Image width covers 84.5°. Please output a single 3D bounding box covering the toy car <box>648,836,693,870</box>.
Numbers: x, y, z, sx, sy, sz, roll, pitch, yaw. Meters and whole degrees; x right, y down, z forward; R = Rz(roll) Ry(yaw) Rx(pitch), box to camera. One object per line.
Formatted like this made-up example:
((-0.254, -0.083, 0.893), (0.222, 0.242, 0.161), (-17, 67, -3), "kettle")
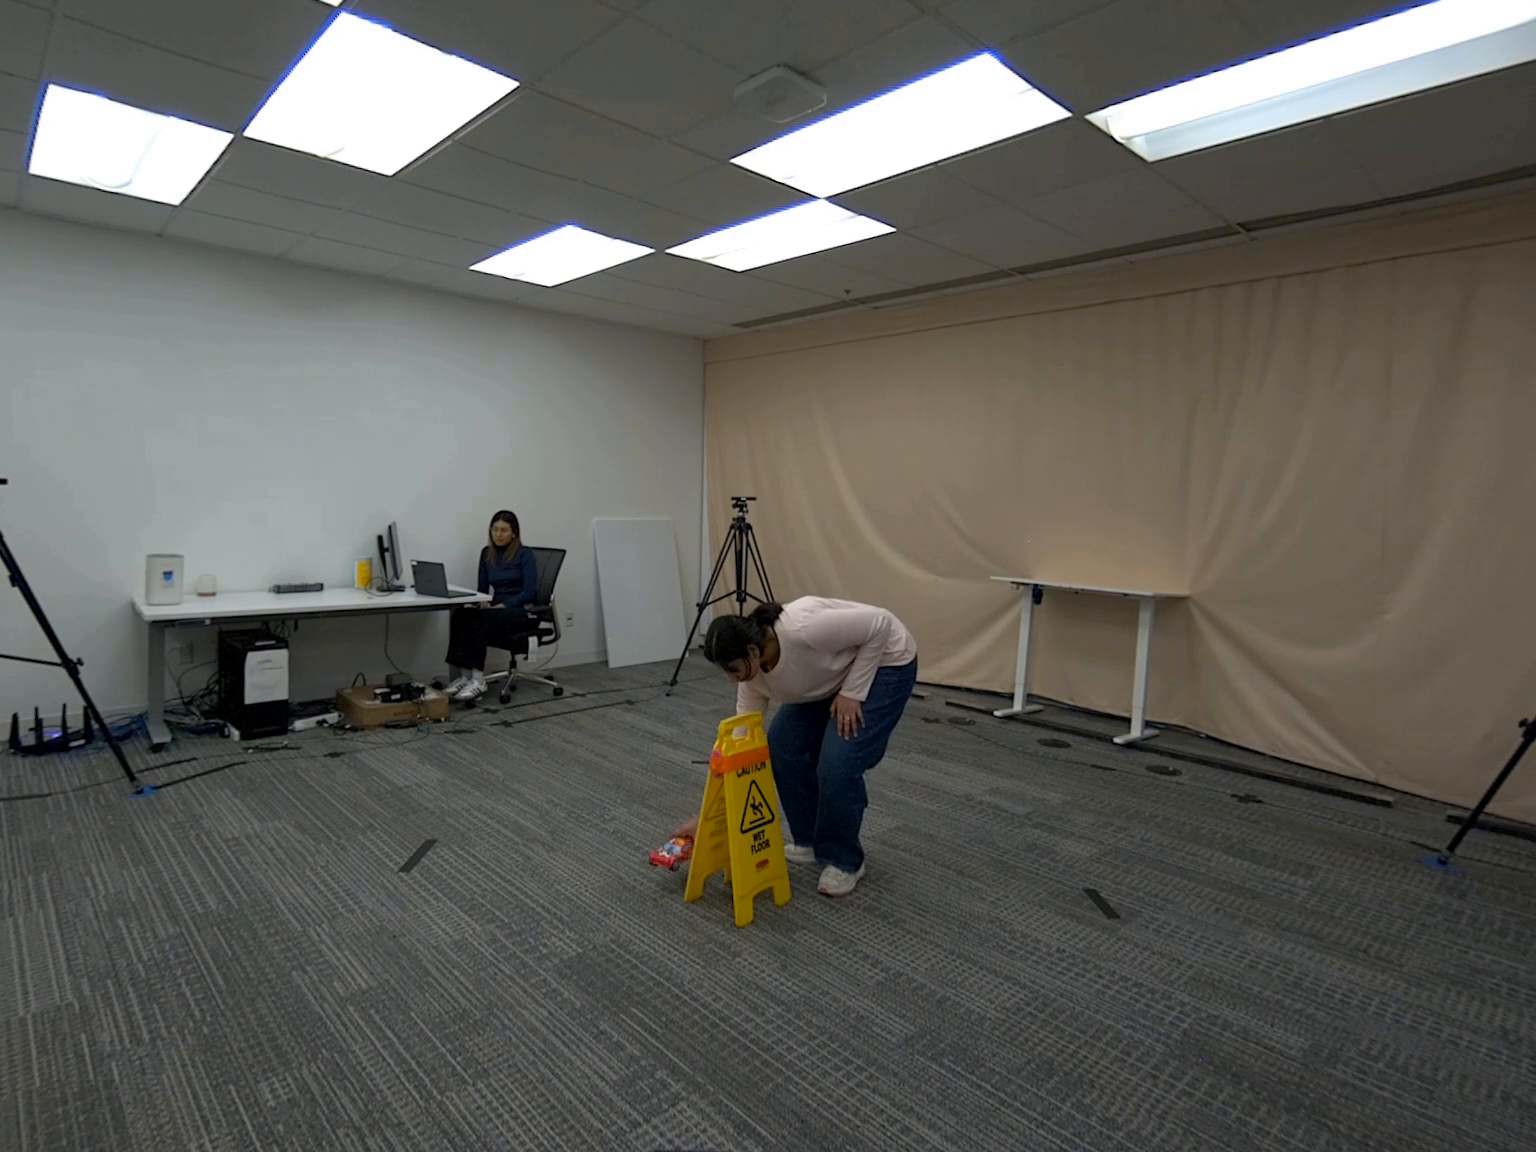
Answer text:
((-0.314, 0.988, 3.040), (0.133, 0.082, 0.251), (2, 13, 34), "toy car")
